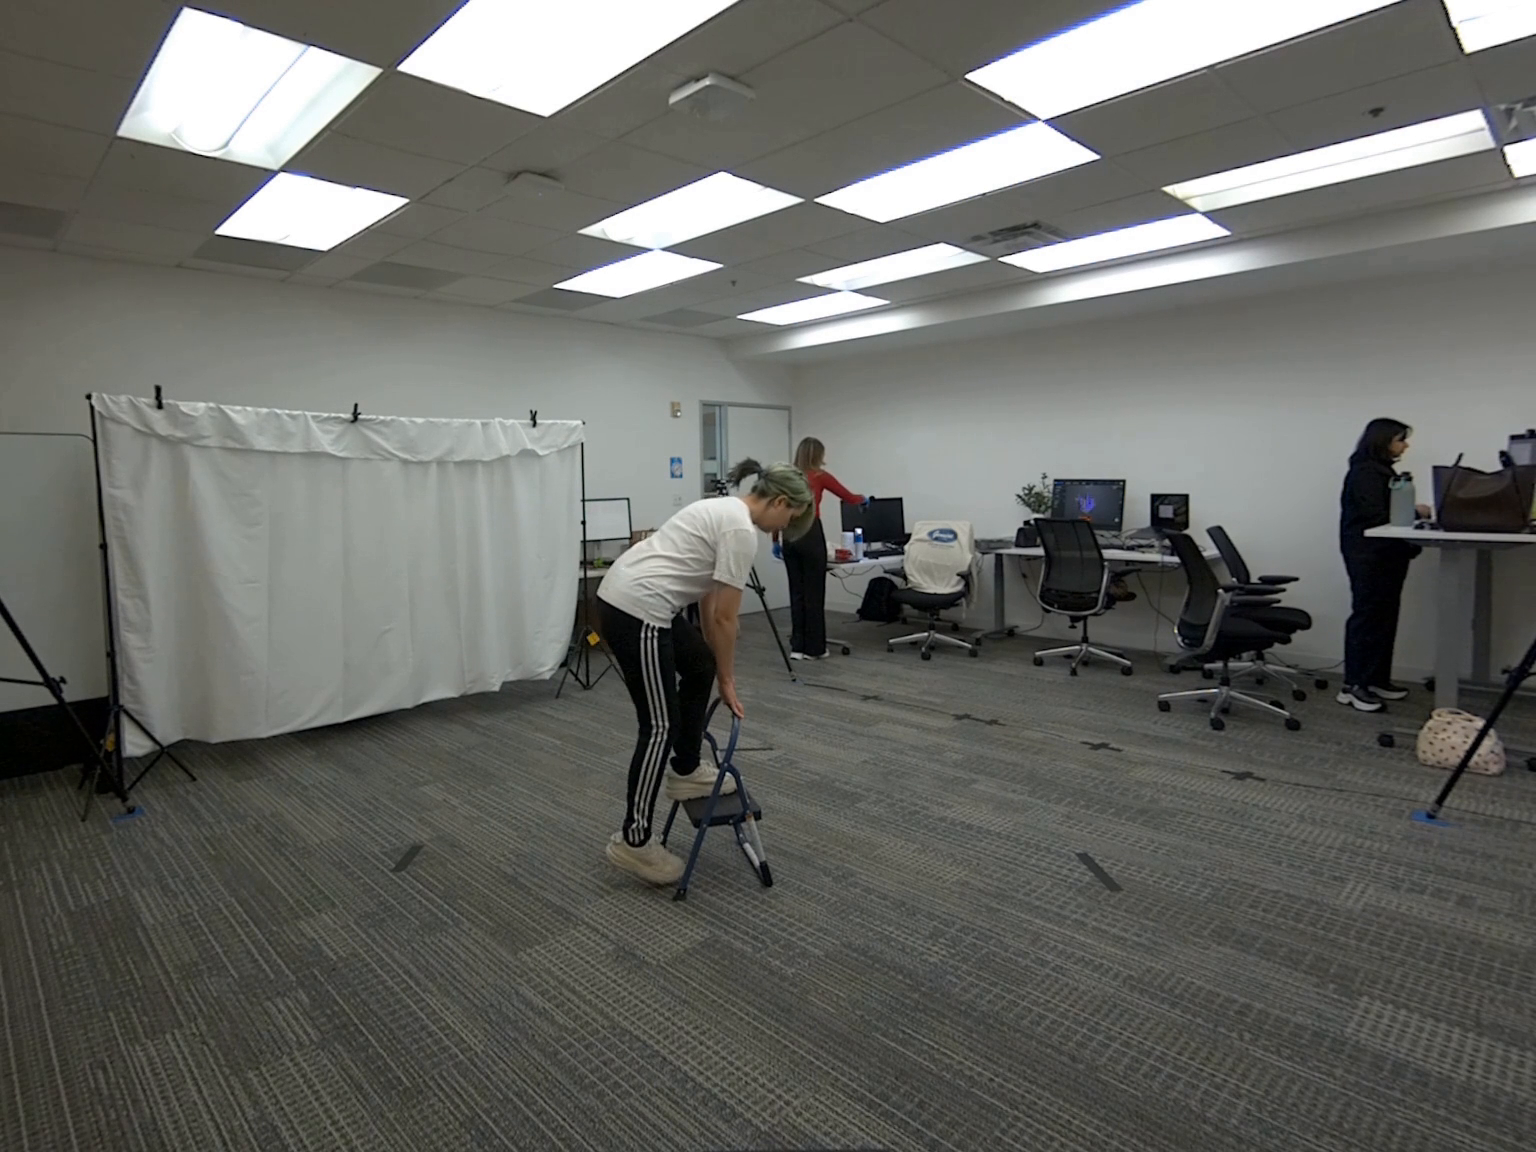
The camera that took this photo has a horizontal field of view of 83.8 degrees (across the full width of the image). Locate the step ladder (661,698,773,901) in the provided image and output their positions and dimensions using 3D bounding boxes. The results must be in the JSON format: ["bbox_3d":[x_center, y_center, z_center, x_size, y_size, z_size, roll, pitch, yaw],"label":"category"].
[{"bbox_3d":[-0.205,0.757,3.074,0.344,0.604,0.438,-2,5,-16],"label":"step ladder"}]
